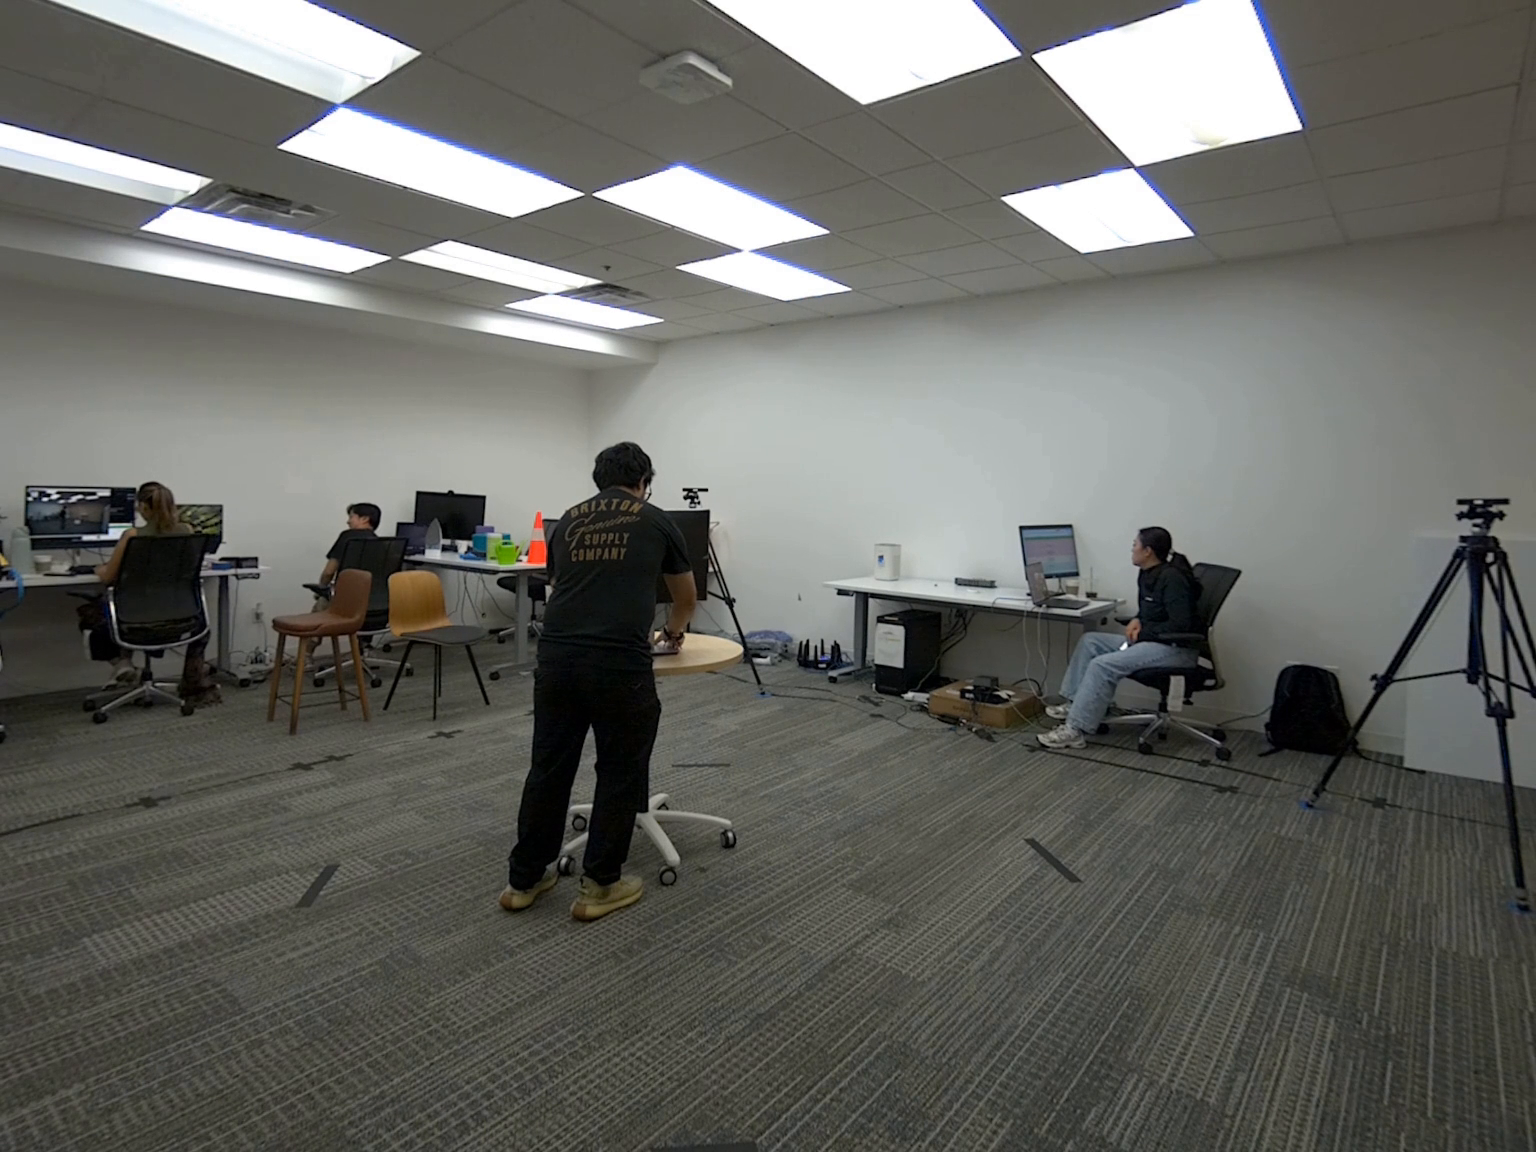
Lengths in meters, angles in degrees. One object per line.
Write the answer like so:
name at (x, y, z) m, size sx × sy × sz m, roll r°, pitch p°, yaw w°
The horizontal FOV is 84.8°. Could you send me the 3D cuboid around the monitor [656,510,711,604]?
monitor at (-0.470, 0.021, 3.150) m, size 0.553 × 0.552 × 0.215 m, roll -1°, pitch 5°, yaw -22°
